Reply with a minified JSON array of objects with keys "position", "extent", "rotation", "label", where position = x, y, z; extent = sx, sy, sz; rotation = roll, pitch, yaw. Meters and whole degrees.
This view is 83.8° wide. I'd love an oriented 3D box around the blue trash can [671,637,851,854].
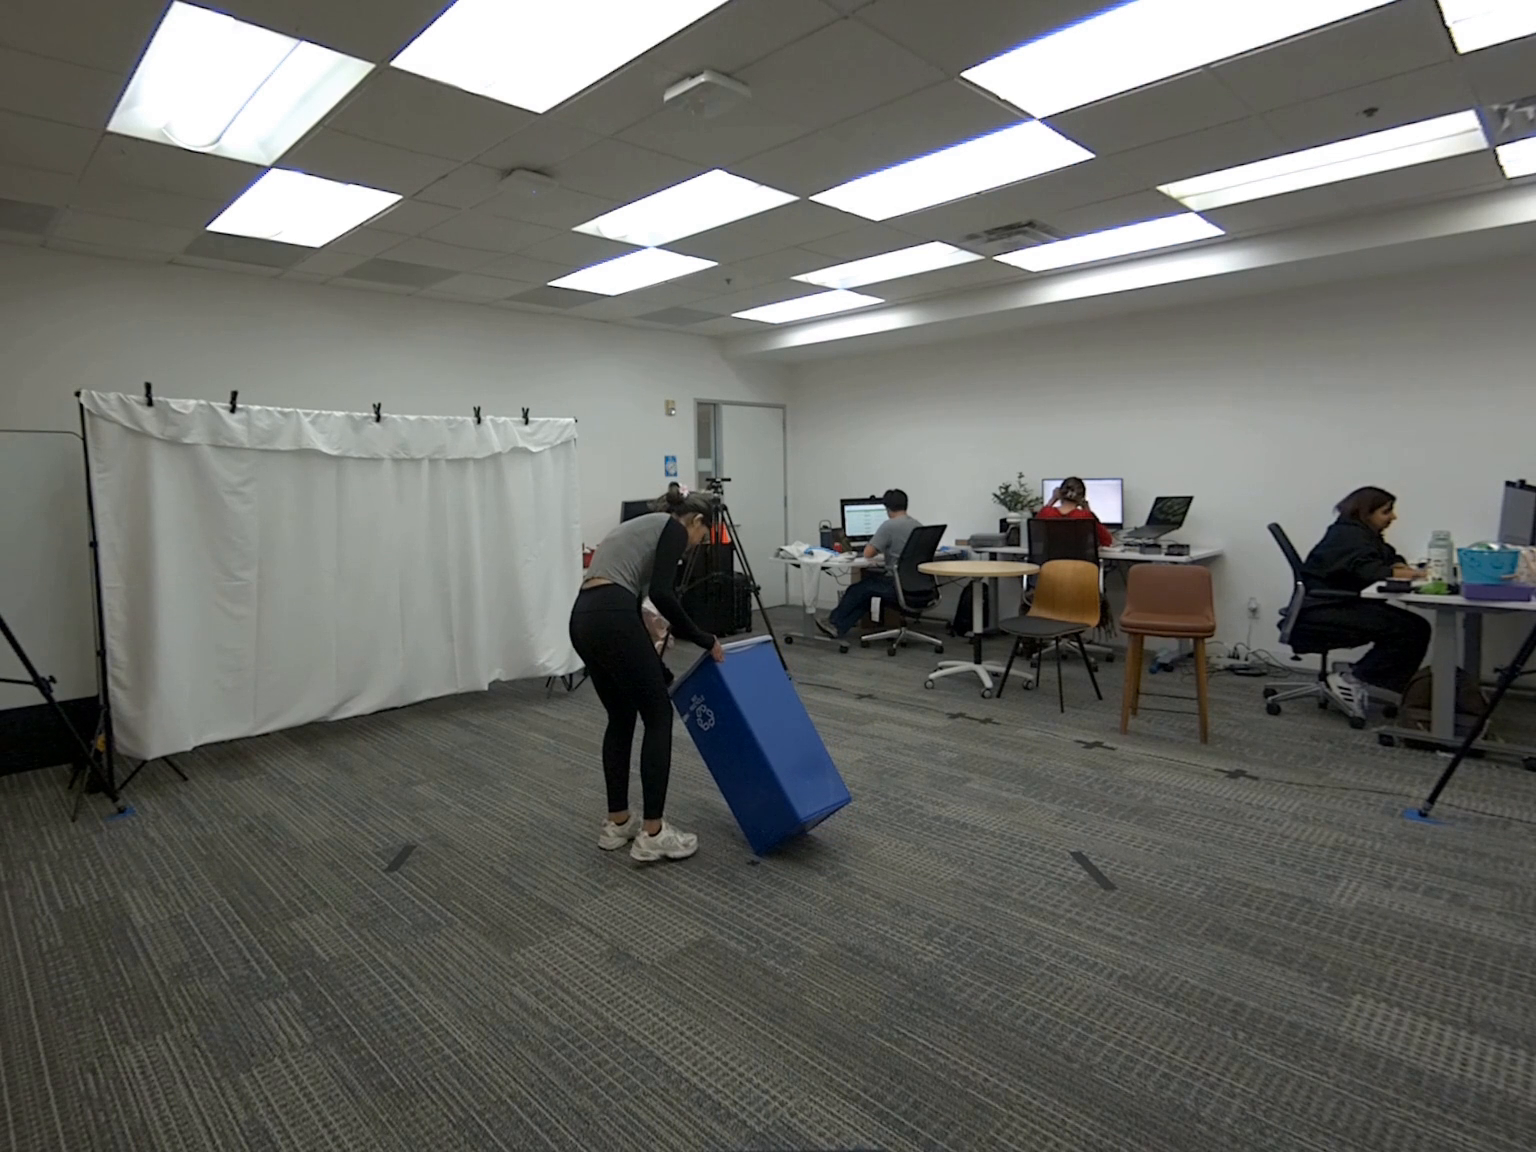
[{"position":[-0.033,0.643,3.320],"extent":[0.368,0.734,0.373],"rotation":[-6,-34,-45],"label":"blue trash can"}]
